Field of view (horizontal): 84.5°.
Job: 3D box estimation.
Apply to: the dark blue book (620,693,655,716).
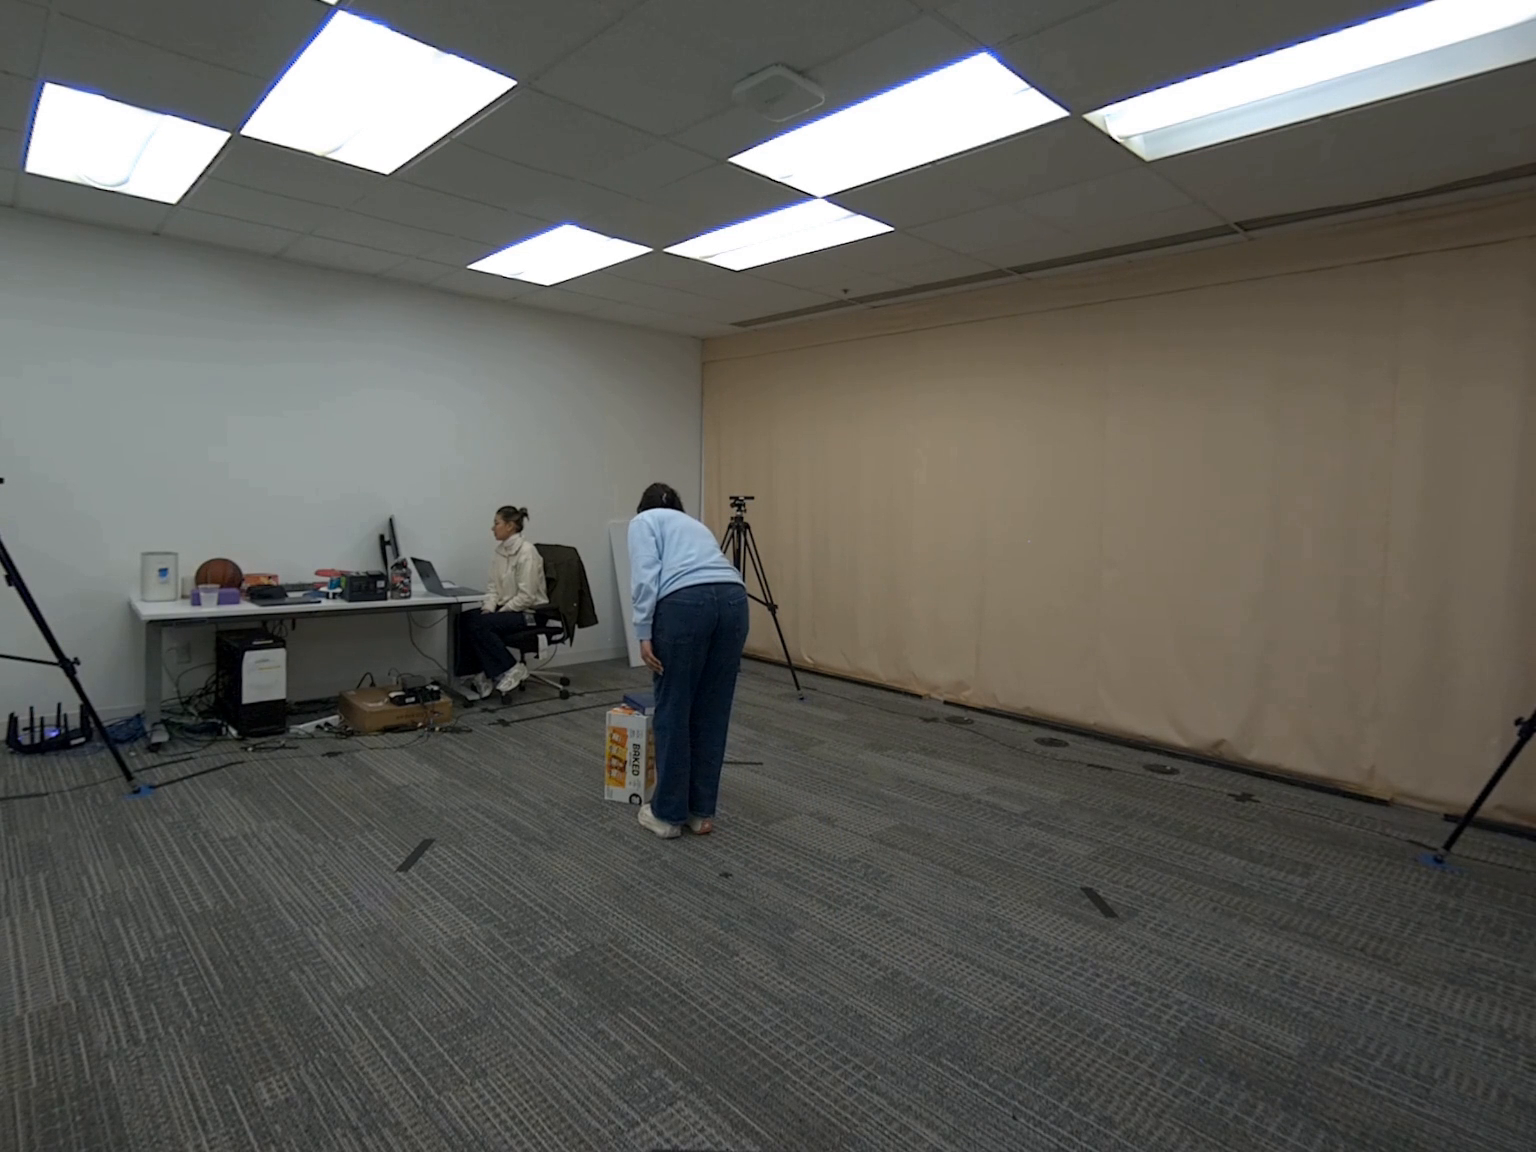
[{"bbox_3d":[-0.564,0.589,3.937,0.160,0.045,0.251,-1,7,-32],"label":"dark blue book"}]
